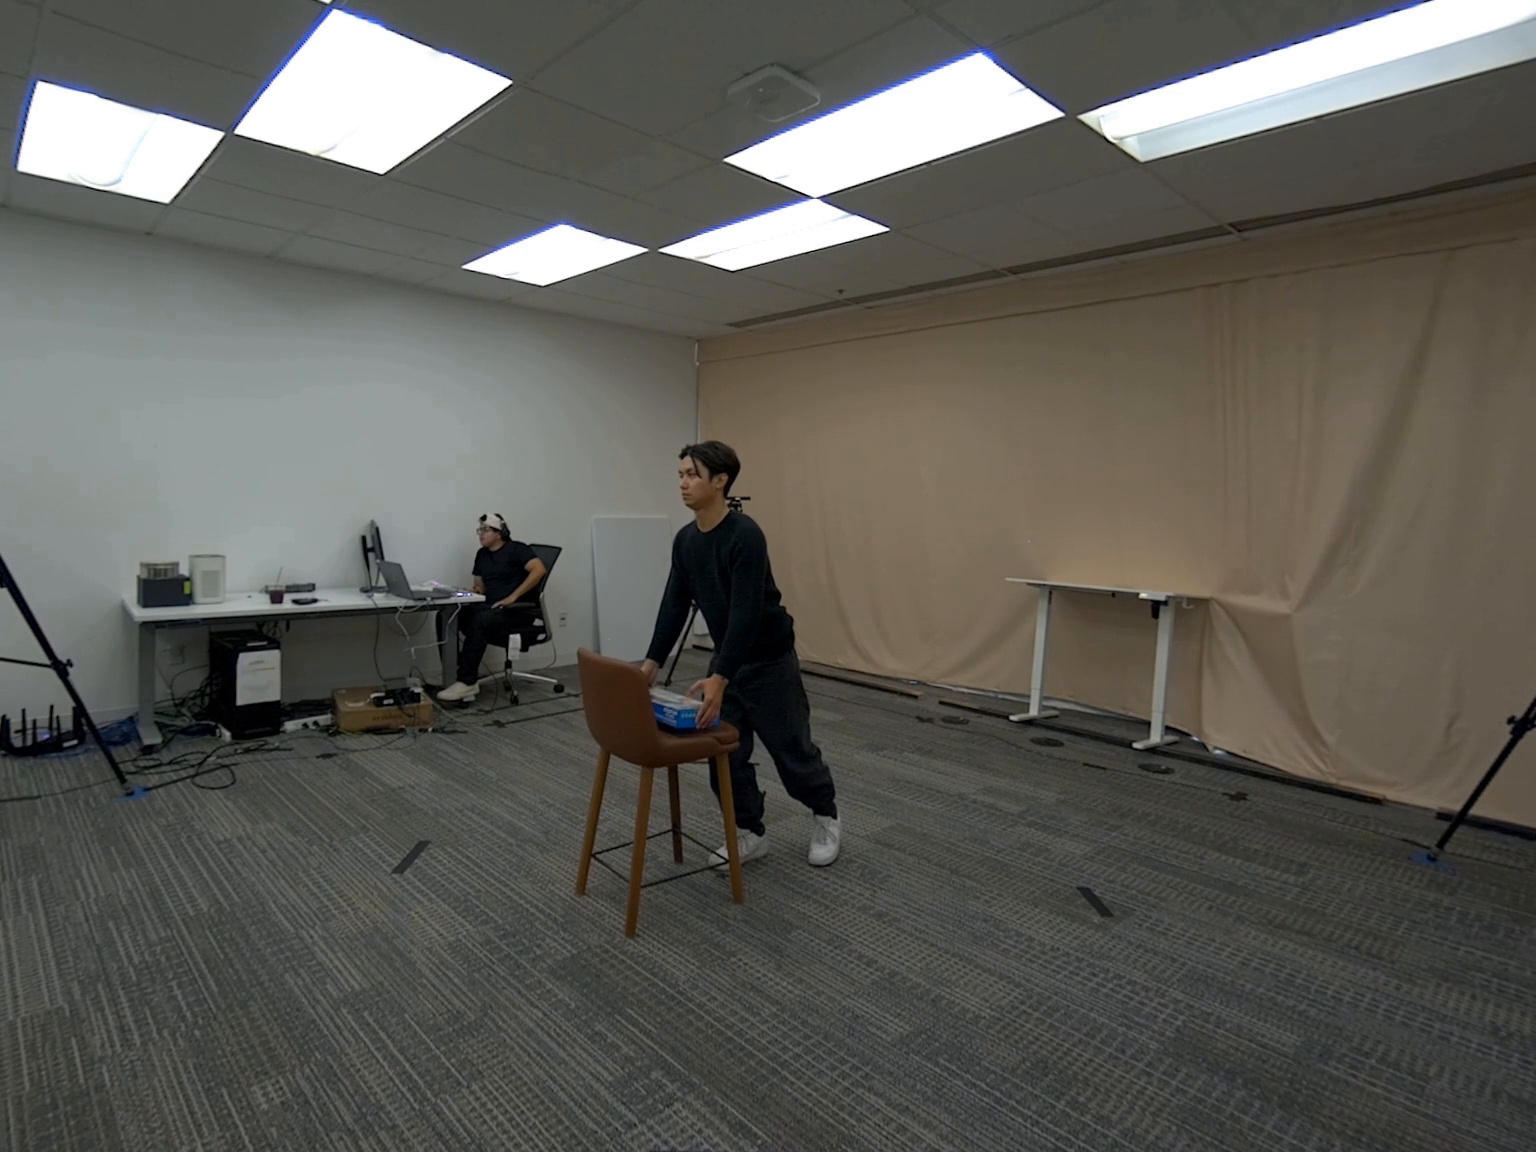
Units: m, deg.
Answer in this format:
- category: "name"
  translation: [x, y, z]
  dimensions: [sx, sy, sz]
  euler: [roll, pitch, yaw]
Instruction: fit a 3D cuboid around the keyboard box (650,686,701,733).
- category: "keyboard box"
  translation: [-0.374, 0.444, 2.928]
  dimensions: [0.172, 0.059, 0.447]
  euler: [4, 1, -38]
